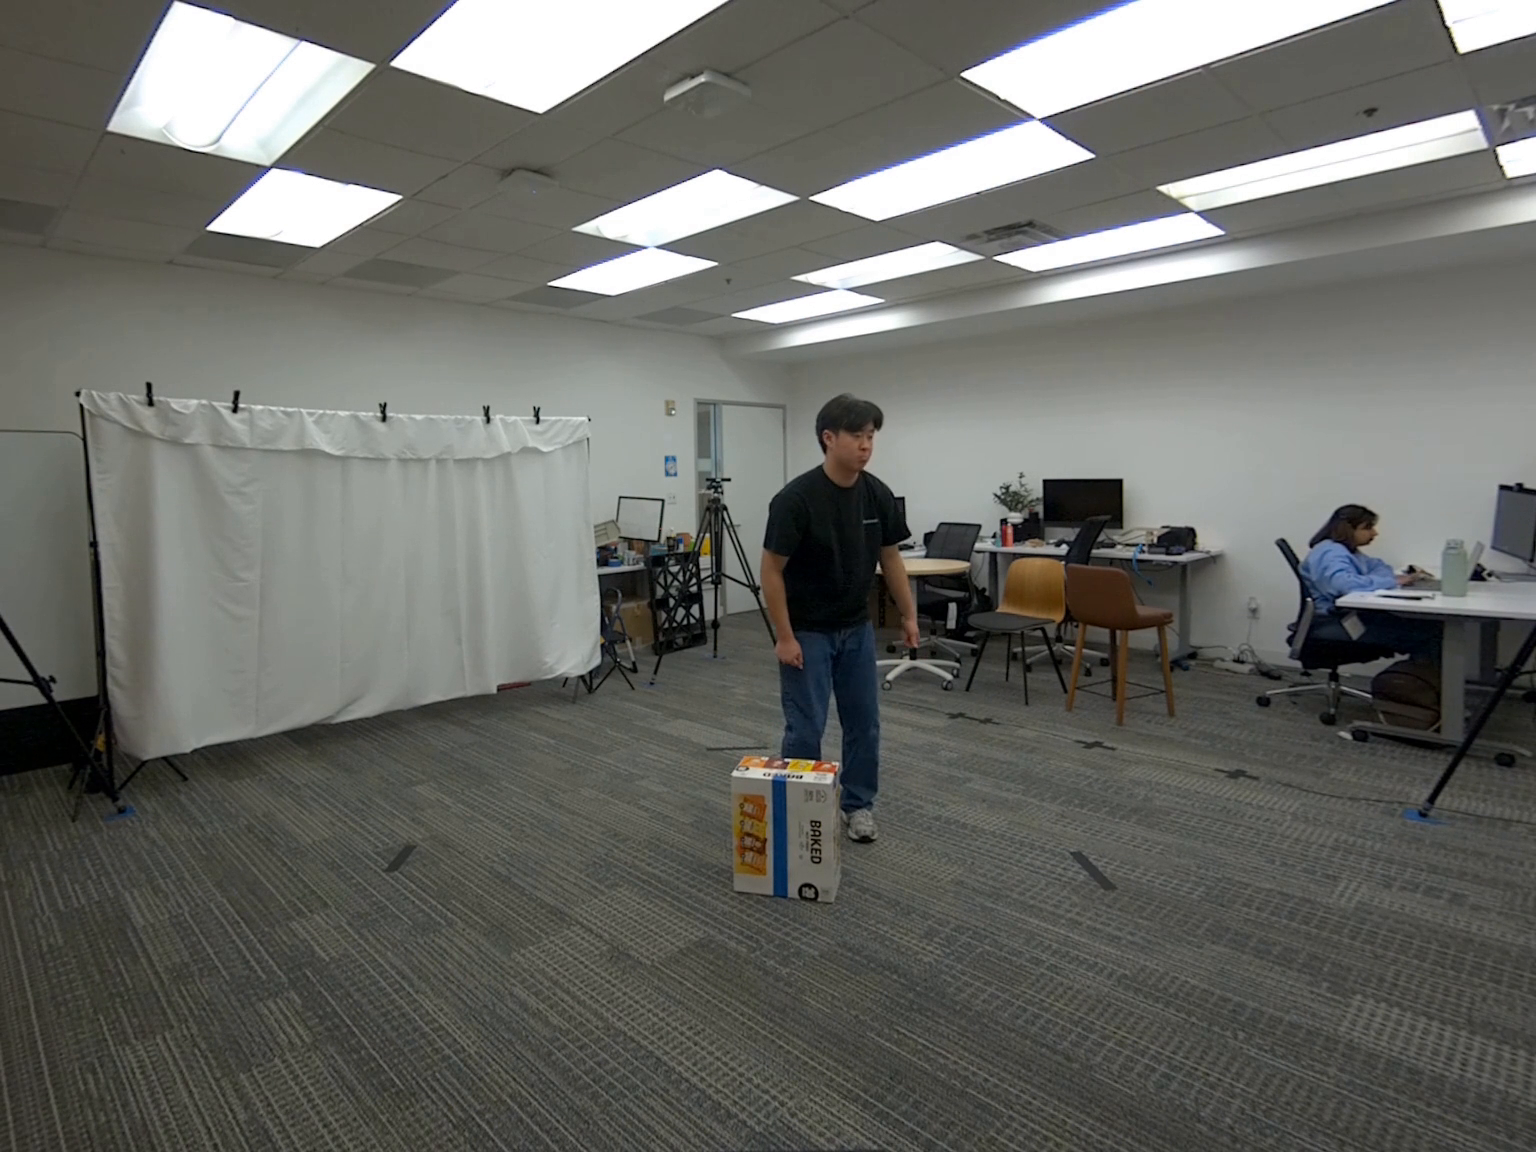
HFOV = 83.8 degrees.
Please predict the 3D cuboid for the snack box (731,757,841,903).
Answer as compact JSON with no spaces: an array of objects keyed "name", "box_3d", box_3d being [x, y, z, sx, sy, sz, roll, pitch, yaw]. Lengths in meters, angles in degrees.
[{"name":"snack box","box_3d":[0.070,0.856,2.927,0.345,0.403,0.203,0,5,15]}]
